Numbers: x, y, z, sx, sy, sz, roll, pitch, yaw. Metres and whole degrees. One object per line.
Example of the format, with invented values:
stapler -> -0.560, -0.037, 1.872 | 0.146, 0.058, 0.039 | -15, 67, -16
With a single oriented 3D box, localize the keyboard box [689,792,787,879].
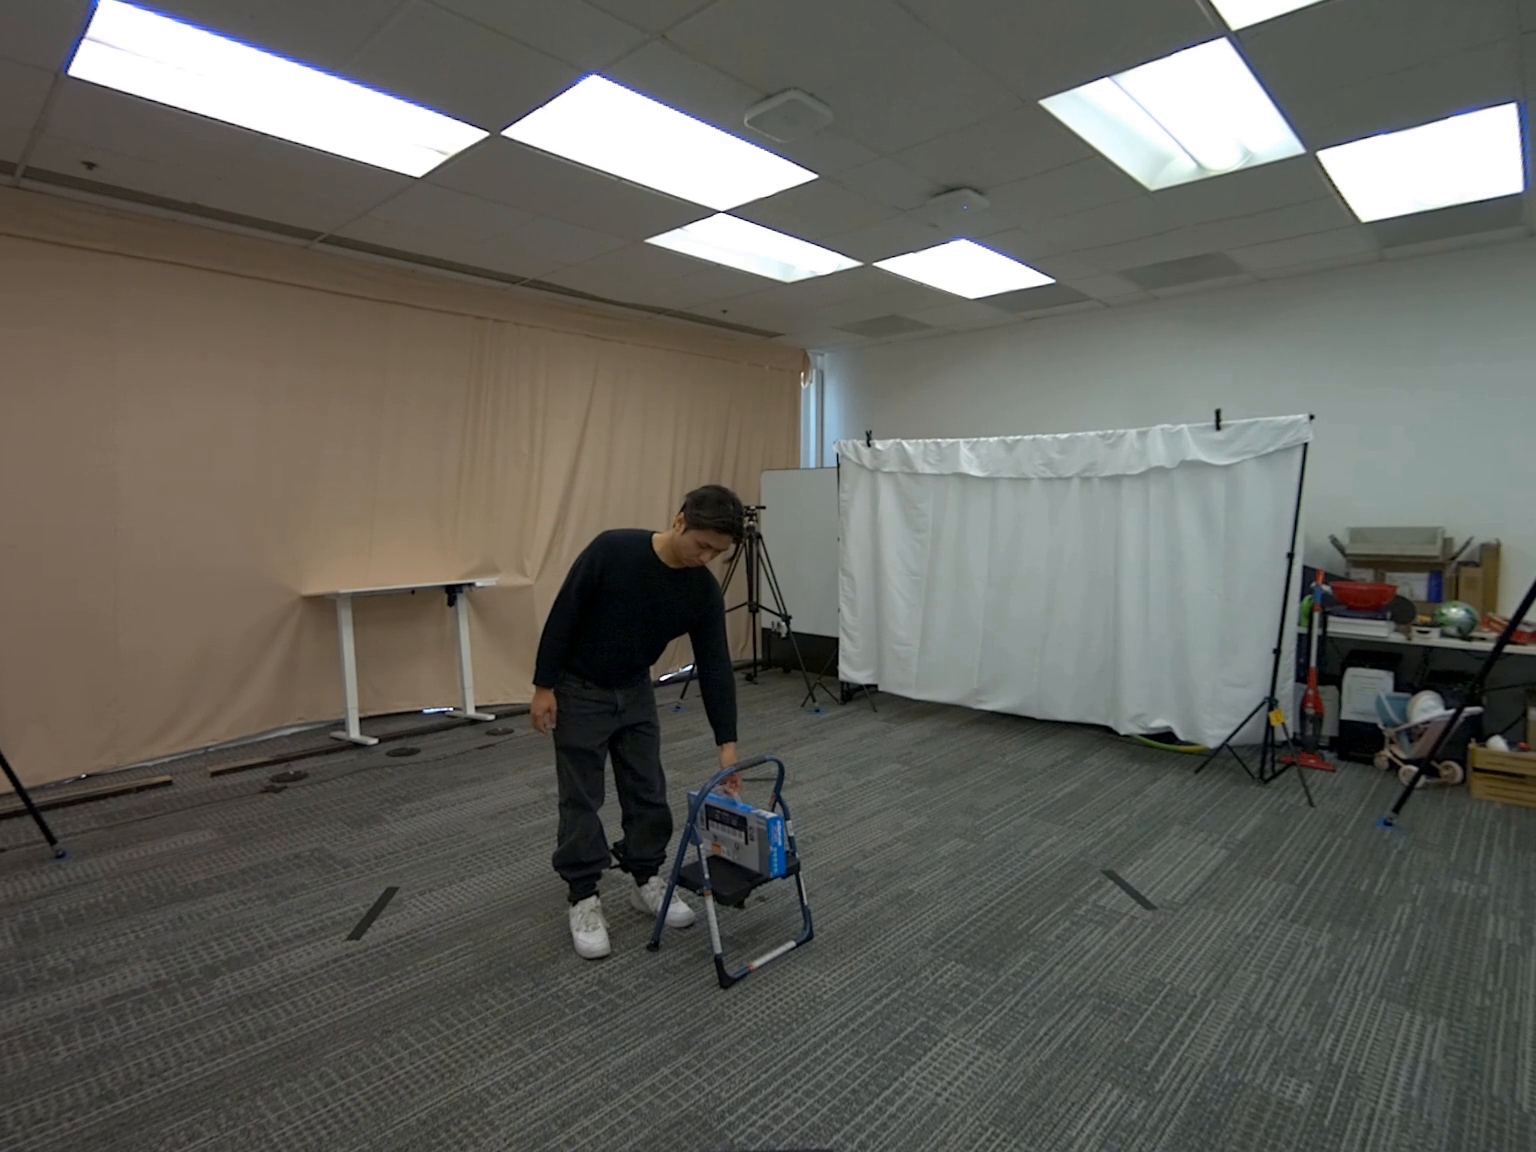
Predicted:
keyboard box -> -0.103, 0.807, 2.653 | 0.057, 0.176, 0.449 | -2, -1, -37
